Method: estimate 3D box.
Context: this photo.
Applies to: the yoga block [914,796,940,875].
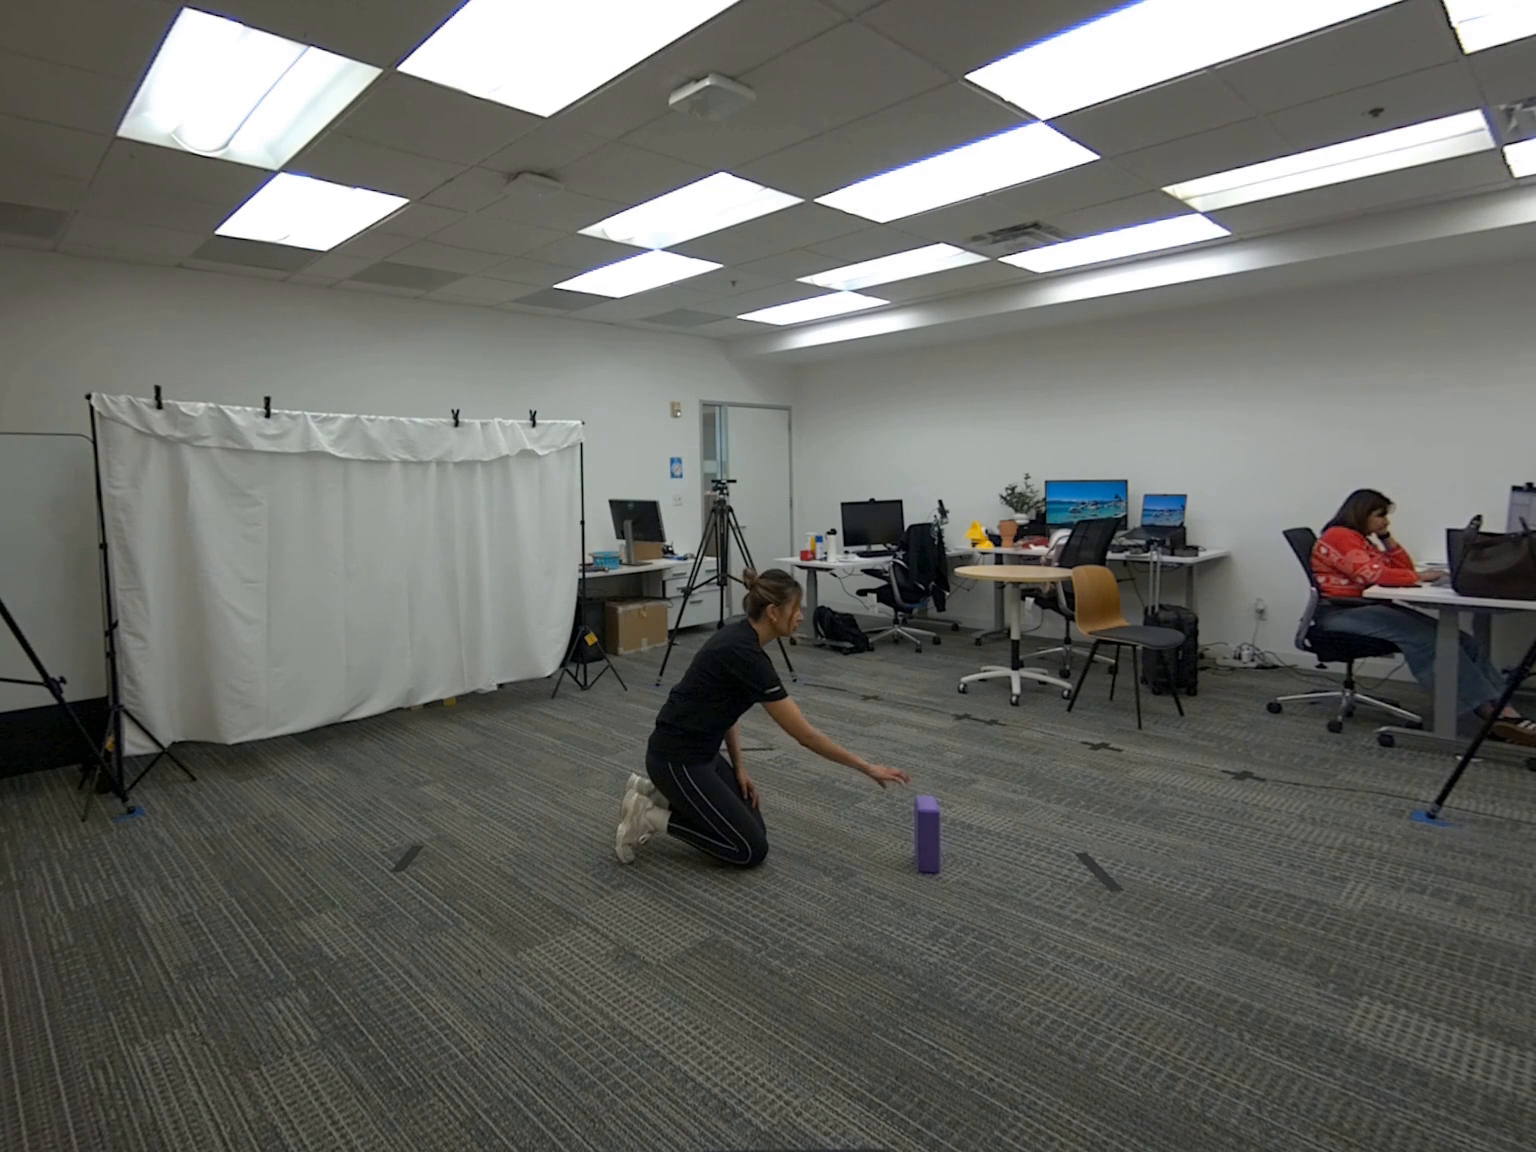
[{"bbox_3d":[0.569,0.921,3.064,0.077,0.229,0.148,0,3,4],"label":"yoga block"}]
